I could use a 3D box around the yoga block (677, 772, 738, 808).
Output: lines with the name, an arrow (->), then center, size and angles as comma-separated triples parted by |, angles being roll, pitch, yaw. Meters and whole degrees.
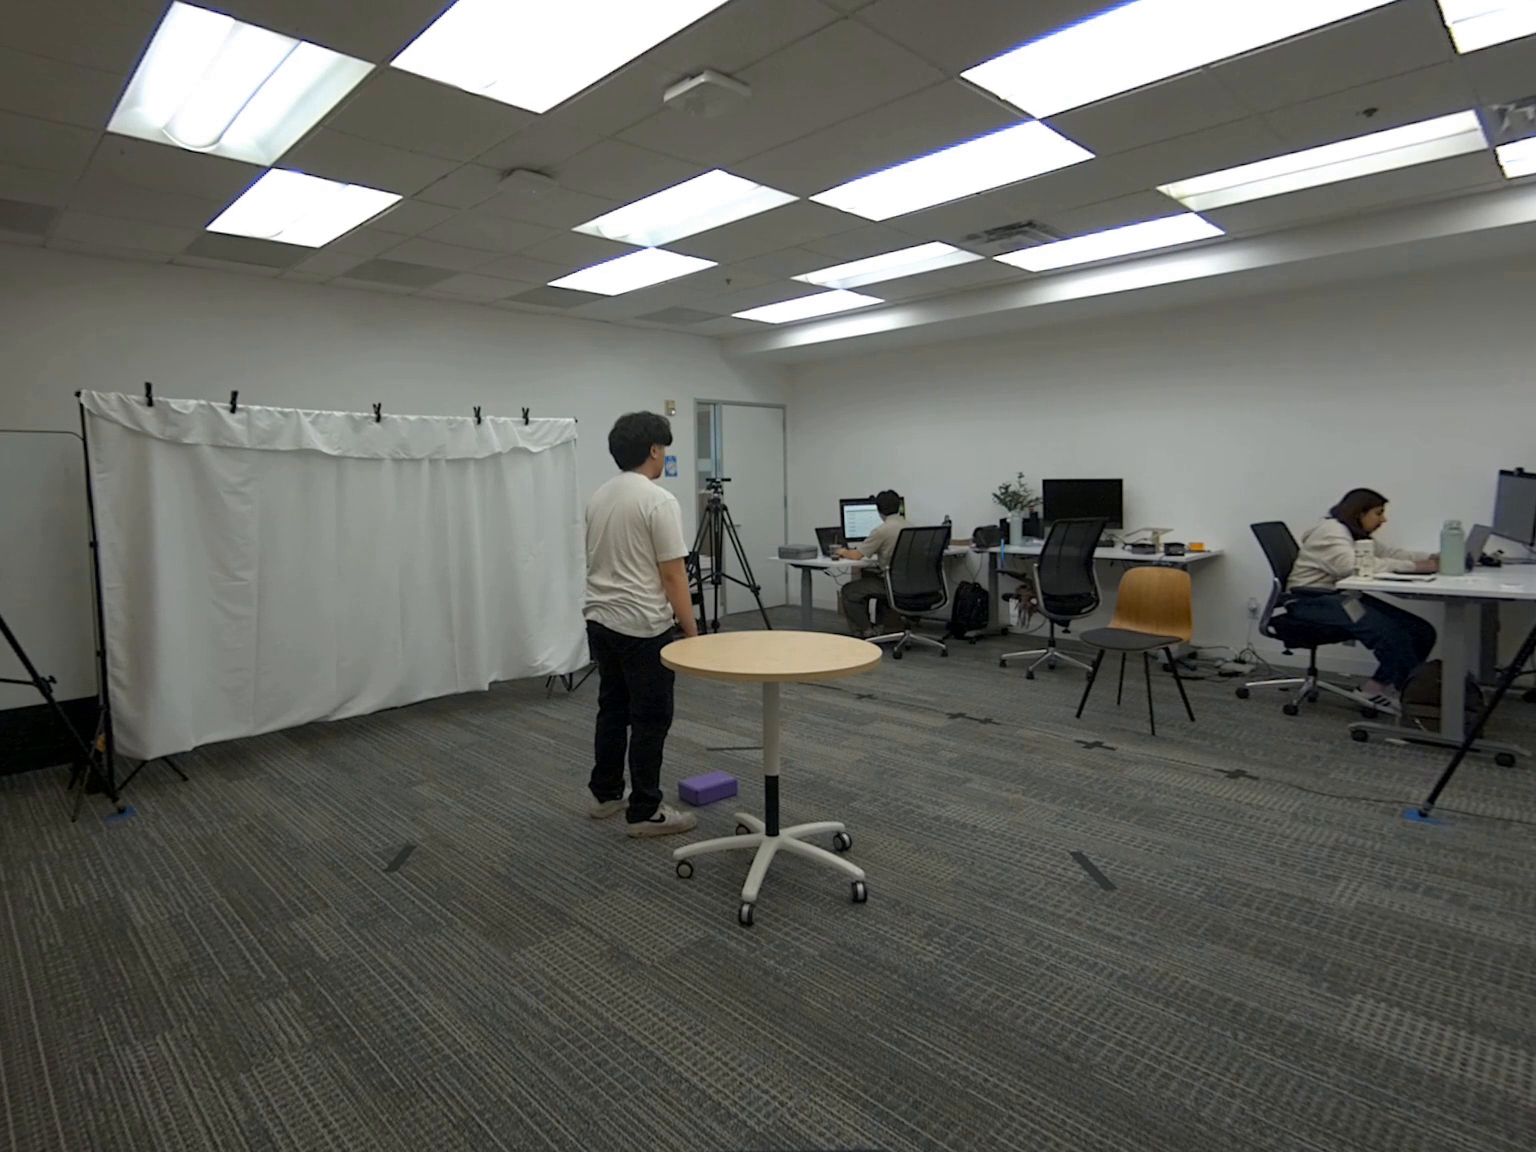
yoga block -> -0.265, 0.932, 3.765 | 0.223, 0.076, 0.153 | -5, 6, -39
